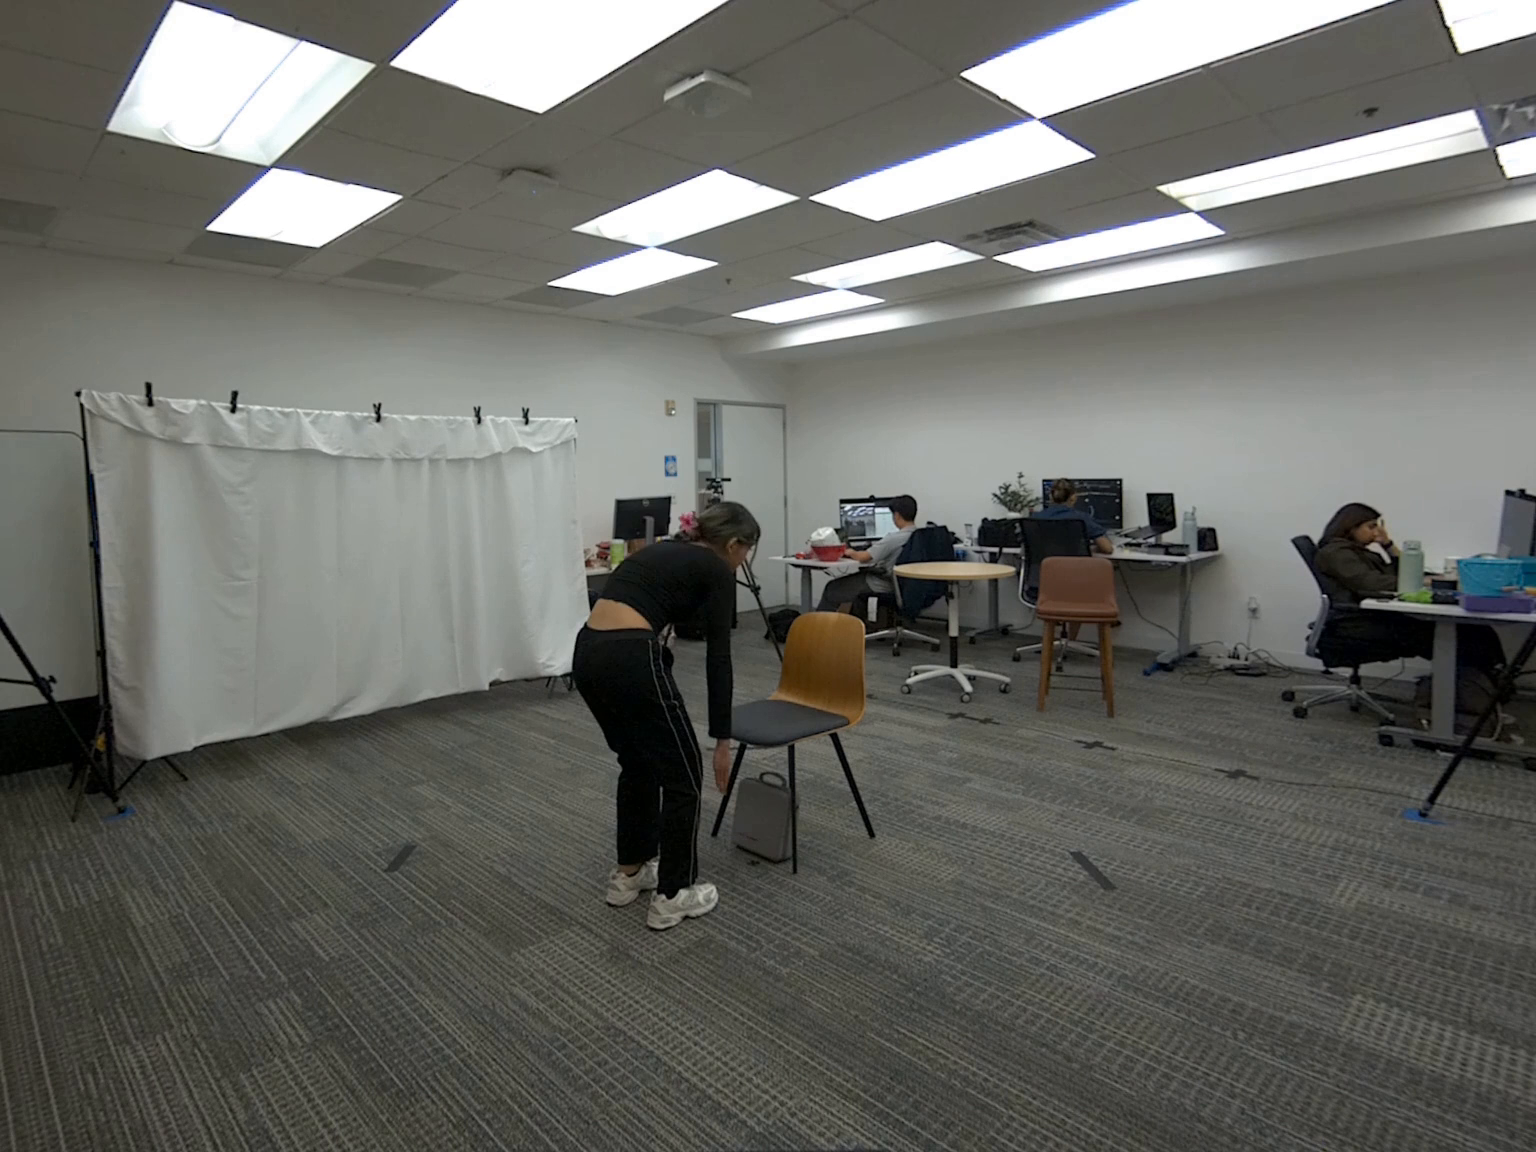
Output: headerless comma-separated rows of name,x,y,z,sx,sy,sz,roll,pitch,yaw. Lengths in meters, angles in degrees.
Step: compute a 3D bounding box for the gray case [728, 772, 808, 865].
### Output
gray case,-0.004,0.894,3.196,0.265,0.261,0.101,5,-6,45
